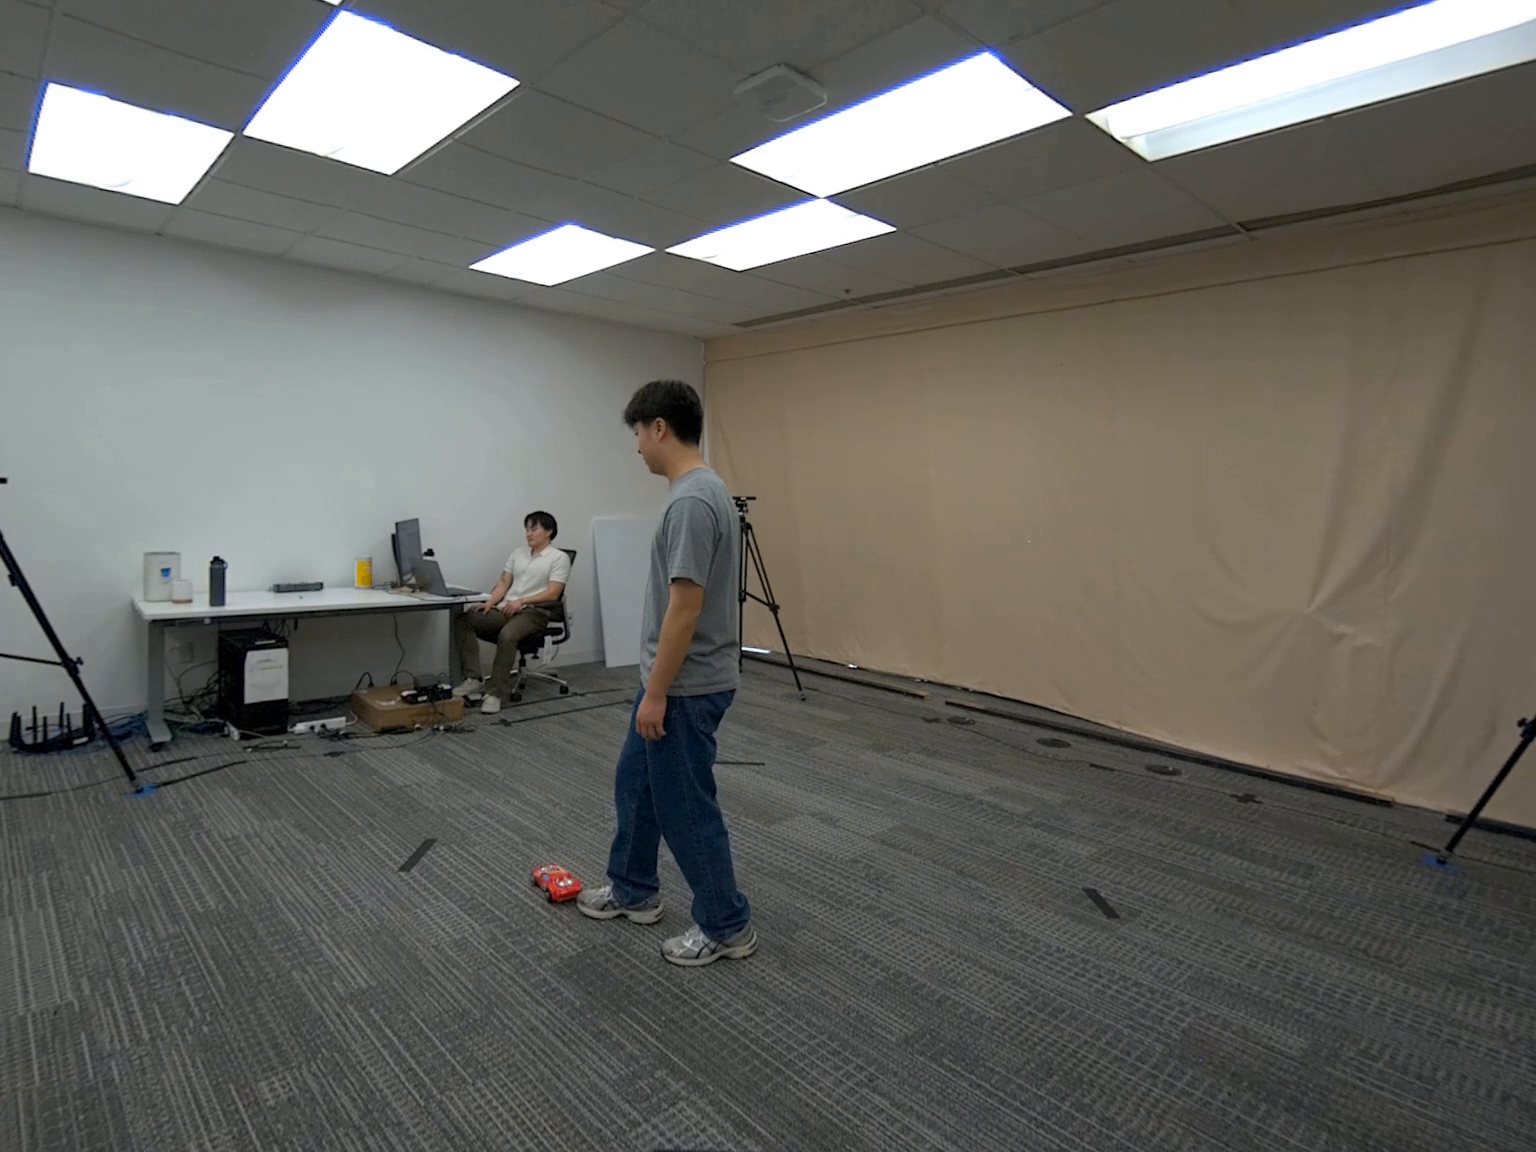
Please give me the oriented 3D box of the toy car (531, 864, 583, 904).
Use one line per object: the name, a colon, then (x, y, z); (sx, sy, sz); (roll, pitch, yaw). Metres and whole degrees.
toy car: (-0.744, 1.076, 2.935); (0.127, 0.083, 0.259); (-2, -4, -35)
